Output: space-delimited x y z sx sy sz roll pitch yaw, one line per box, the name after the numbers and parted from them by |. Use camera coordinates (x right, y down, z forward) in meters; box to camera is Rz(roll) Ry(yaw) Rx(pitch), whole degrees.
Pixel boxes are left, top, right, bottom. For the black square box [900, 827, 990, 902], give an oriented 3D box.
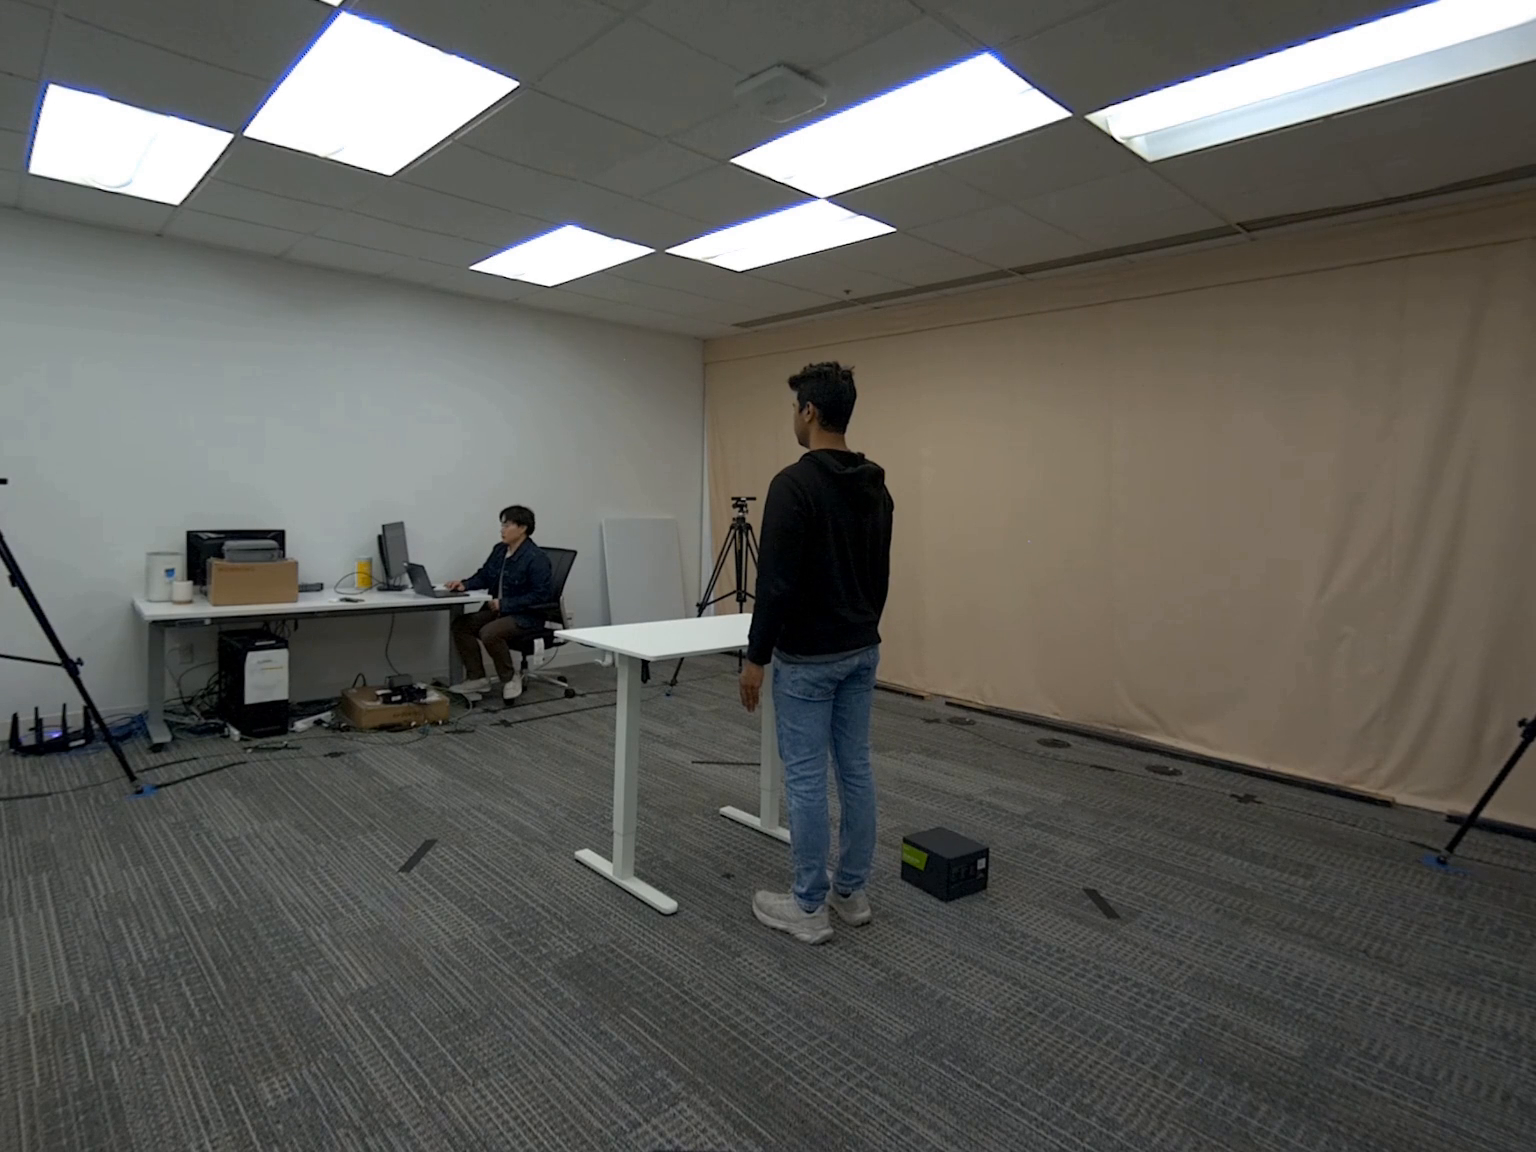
0.636 1.045 3.081 0.212 0.155 0.233 -1 5 -36 | black square box
